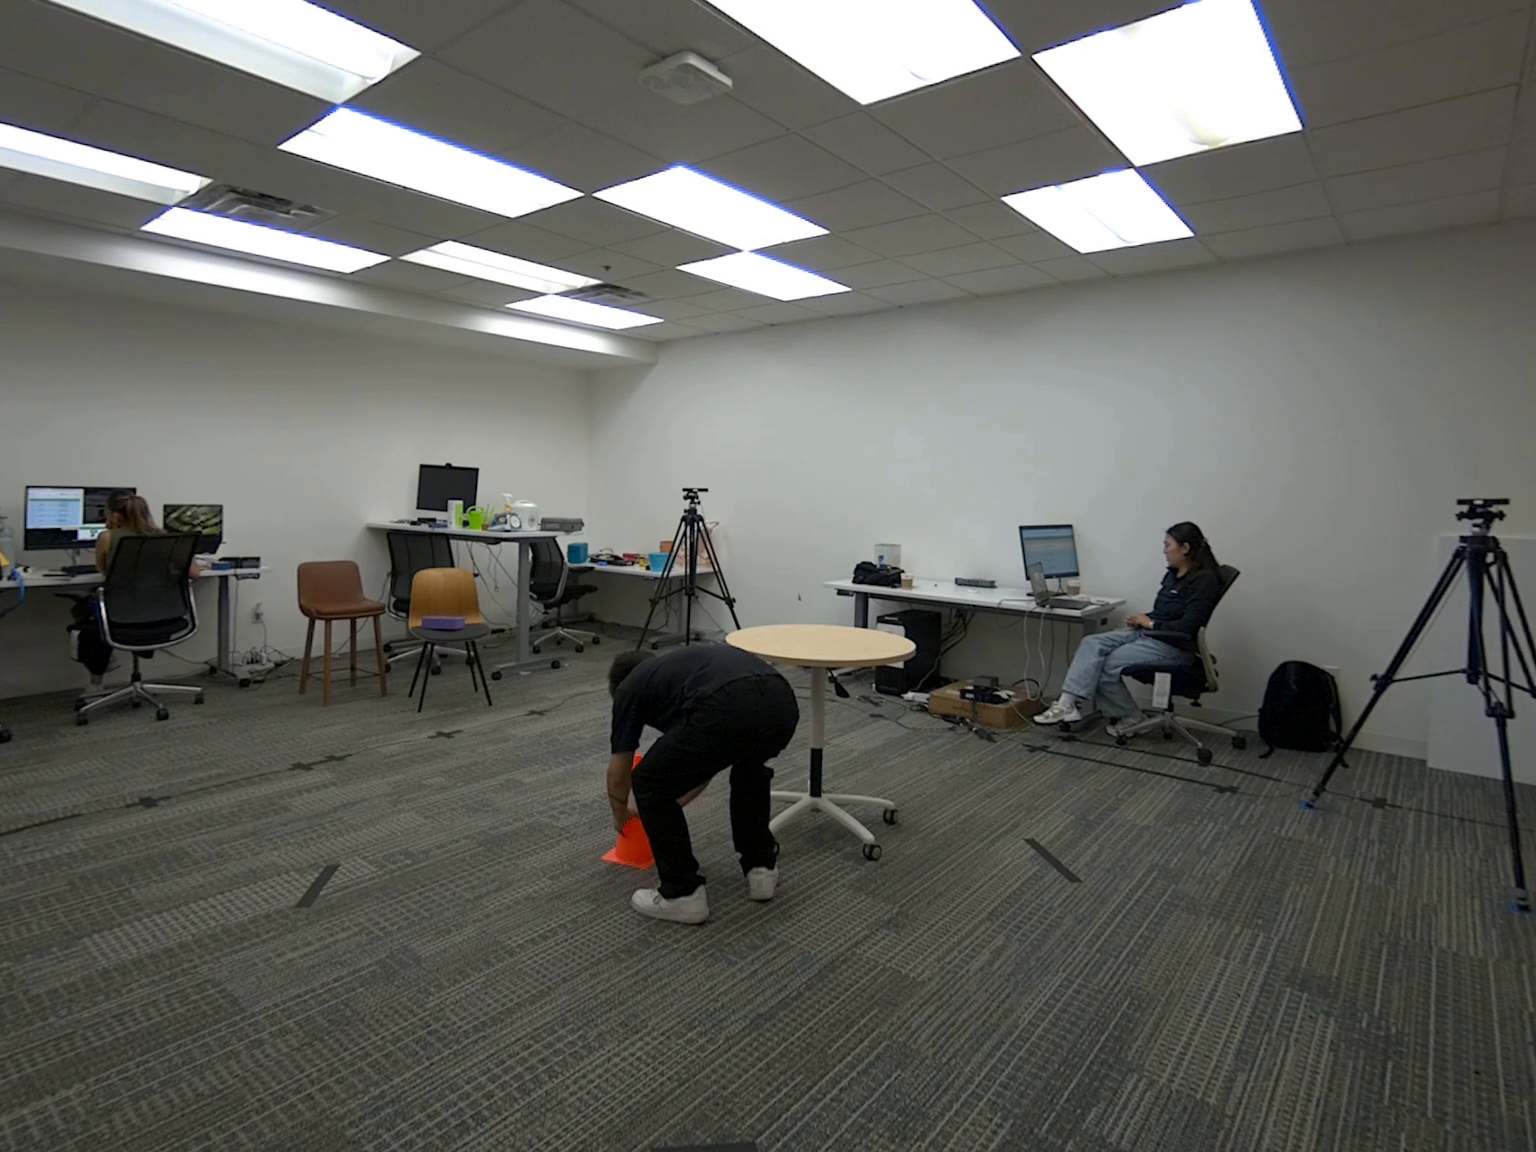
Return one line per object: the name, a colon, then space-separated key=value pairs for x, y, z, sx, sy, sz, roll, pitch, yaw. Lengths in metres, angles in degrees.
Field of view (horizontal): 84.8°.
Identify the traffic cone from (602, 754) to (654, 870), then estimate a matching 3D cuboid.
traffic cone: x=-0.496 y=0.873 z=3.216 sx=0.210 sy=0.382 sz=0.199 roll=4 pitch=5 yaw=20
